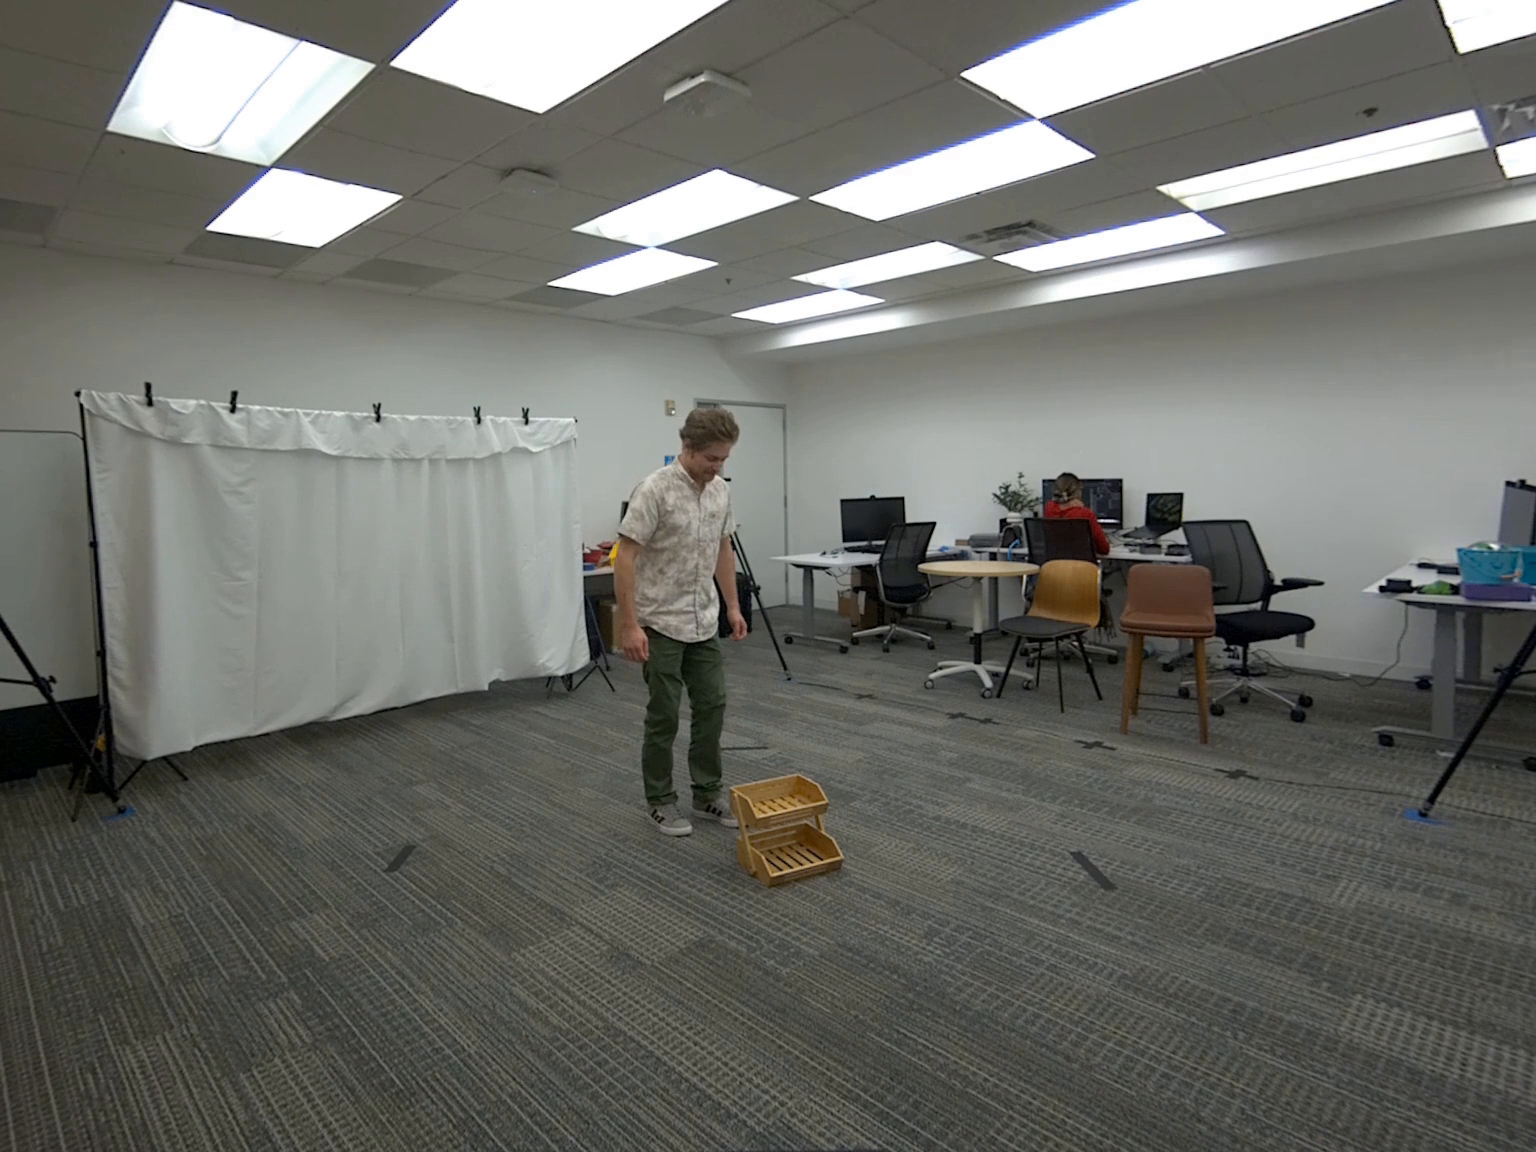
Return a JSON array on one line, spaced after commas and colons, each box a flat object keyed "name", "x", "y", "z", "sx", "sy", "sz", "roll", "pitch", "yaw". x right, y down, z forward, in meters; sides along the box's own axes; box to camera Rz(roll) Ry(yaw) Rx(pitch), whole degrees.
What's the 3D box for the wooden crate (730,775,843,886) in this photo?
[{"name": "wooden crate", "x": 0.068, "y": 0.910, "z": 3.088, "sx": 0.317, "sy": 0.272, "sz": 0.310, "roll": -4, "pitch": 5, "yaw": -29}]
